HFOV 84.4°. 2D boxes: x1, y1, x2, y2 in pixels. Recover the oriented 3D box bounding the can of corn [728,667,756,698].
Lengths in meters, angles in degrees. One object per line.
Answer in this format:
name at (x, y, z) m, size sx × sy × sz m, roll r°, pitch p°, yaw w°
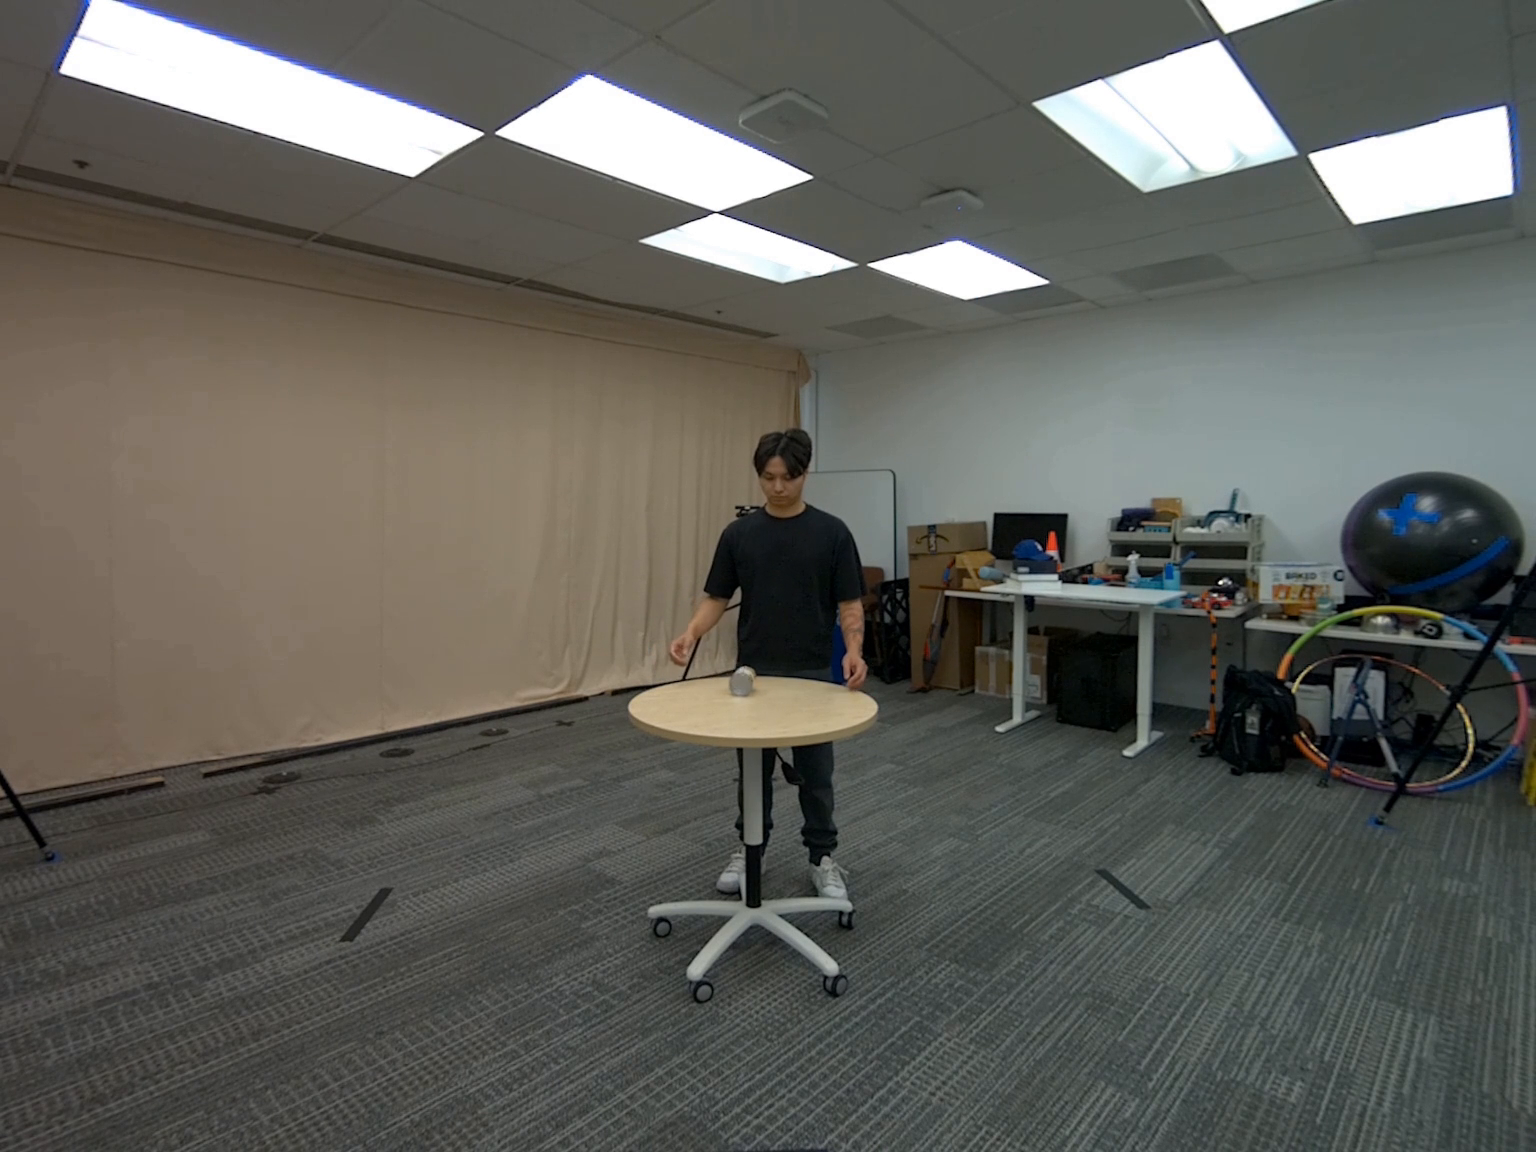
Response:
can of corn at (-0.081, 0.342, 2.745) m, size 0.074 × 0.074 × 0.111 m, roll 0°, pitch 4°, yaw 4°
